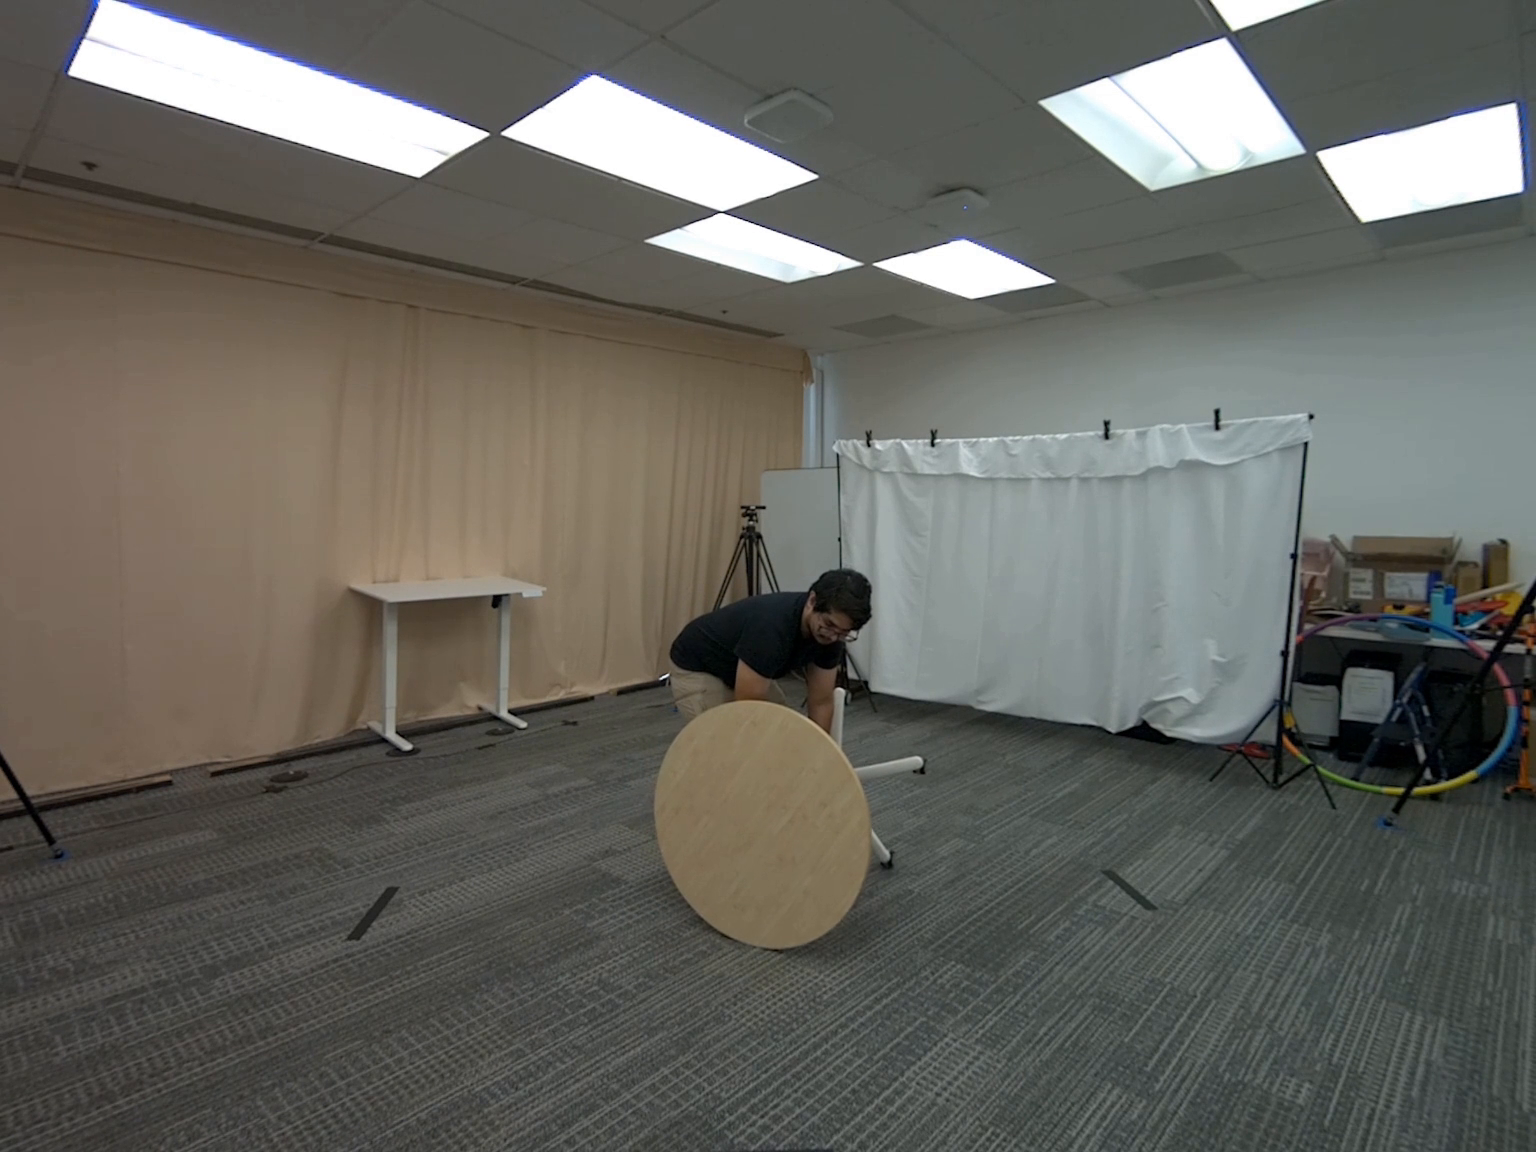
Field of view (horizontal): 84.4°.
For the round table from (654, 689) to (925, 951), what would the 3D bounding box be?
[{"bbox_3d":[0.139,0.777,3.019,0.807,0.785,0.765,2,1,28],"label":"round table"}]
